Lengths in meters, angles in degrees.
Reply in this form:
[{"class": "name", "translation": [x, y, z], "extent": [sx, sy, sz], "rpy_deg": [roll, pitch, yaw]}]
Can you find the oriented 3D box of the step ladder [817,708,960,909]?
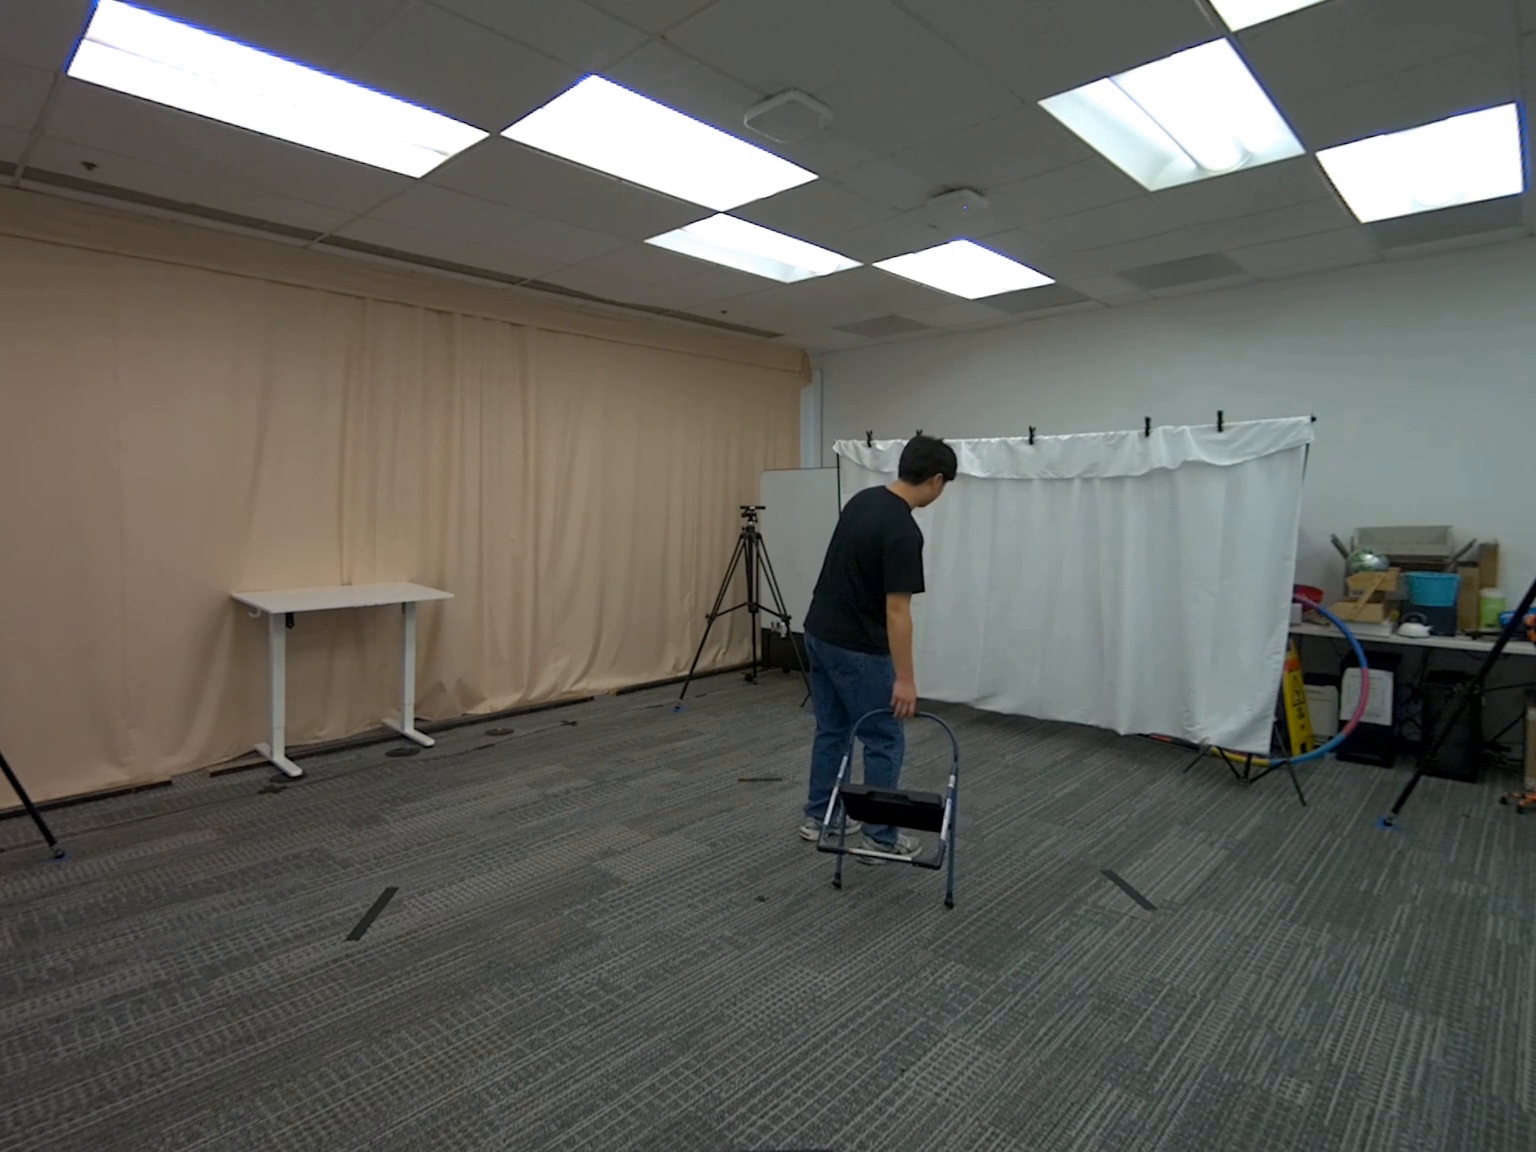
[{"class": "step ladder", "translation": [0.470, 0.789, 3.047], "extent": [0.440, 0.611, 0.339], "rpy_deg": [1, -38, 21]}]
